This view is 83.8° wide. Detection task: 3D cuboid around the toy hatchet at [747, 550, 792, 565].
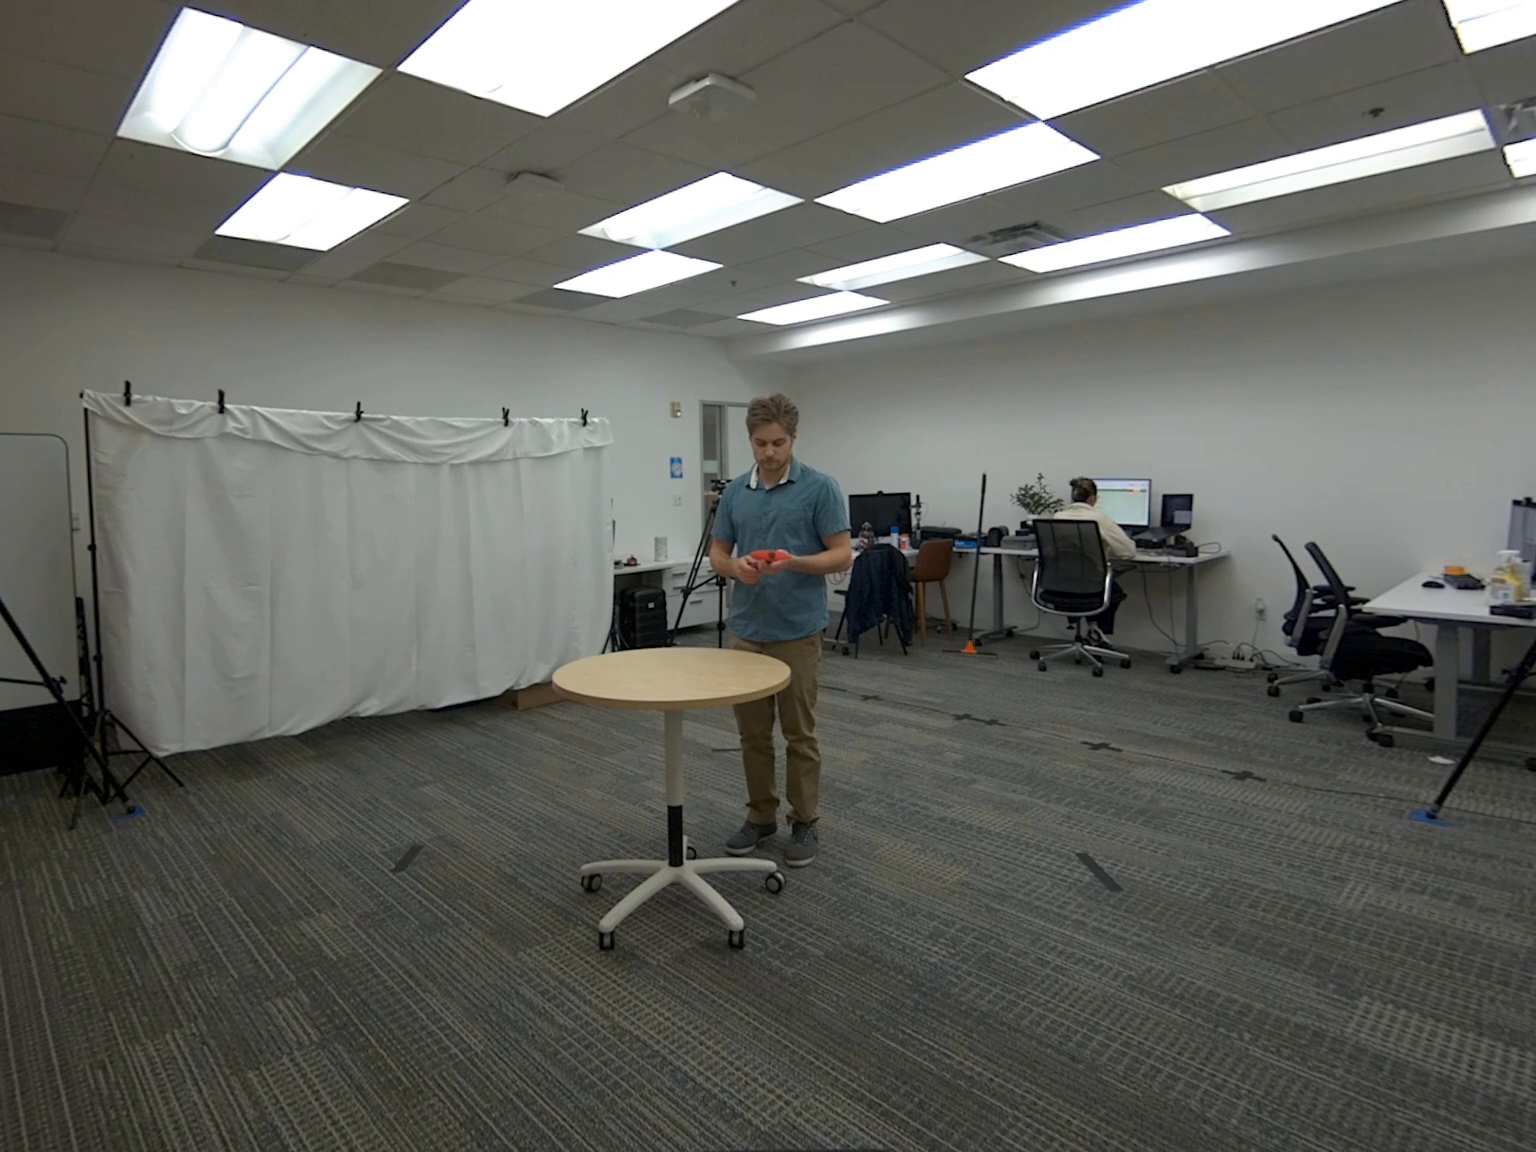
[{"bbox_3d":[-0.030,-0.060,2.875,0.128,0.030,0.275,2,-3,-25],"label":"toy hatchet"}]
